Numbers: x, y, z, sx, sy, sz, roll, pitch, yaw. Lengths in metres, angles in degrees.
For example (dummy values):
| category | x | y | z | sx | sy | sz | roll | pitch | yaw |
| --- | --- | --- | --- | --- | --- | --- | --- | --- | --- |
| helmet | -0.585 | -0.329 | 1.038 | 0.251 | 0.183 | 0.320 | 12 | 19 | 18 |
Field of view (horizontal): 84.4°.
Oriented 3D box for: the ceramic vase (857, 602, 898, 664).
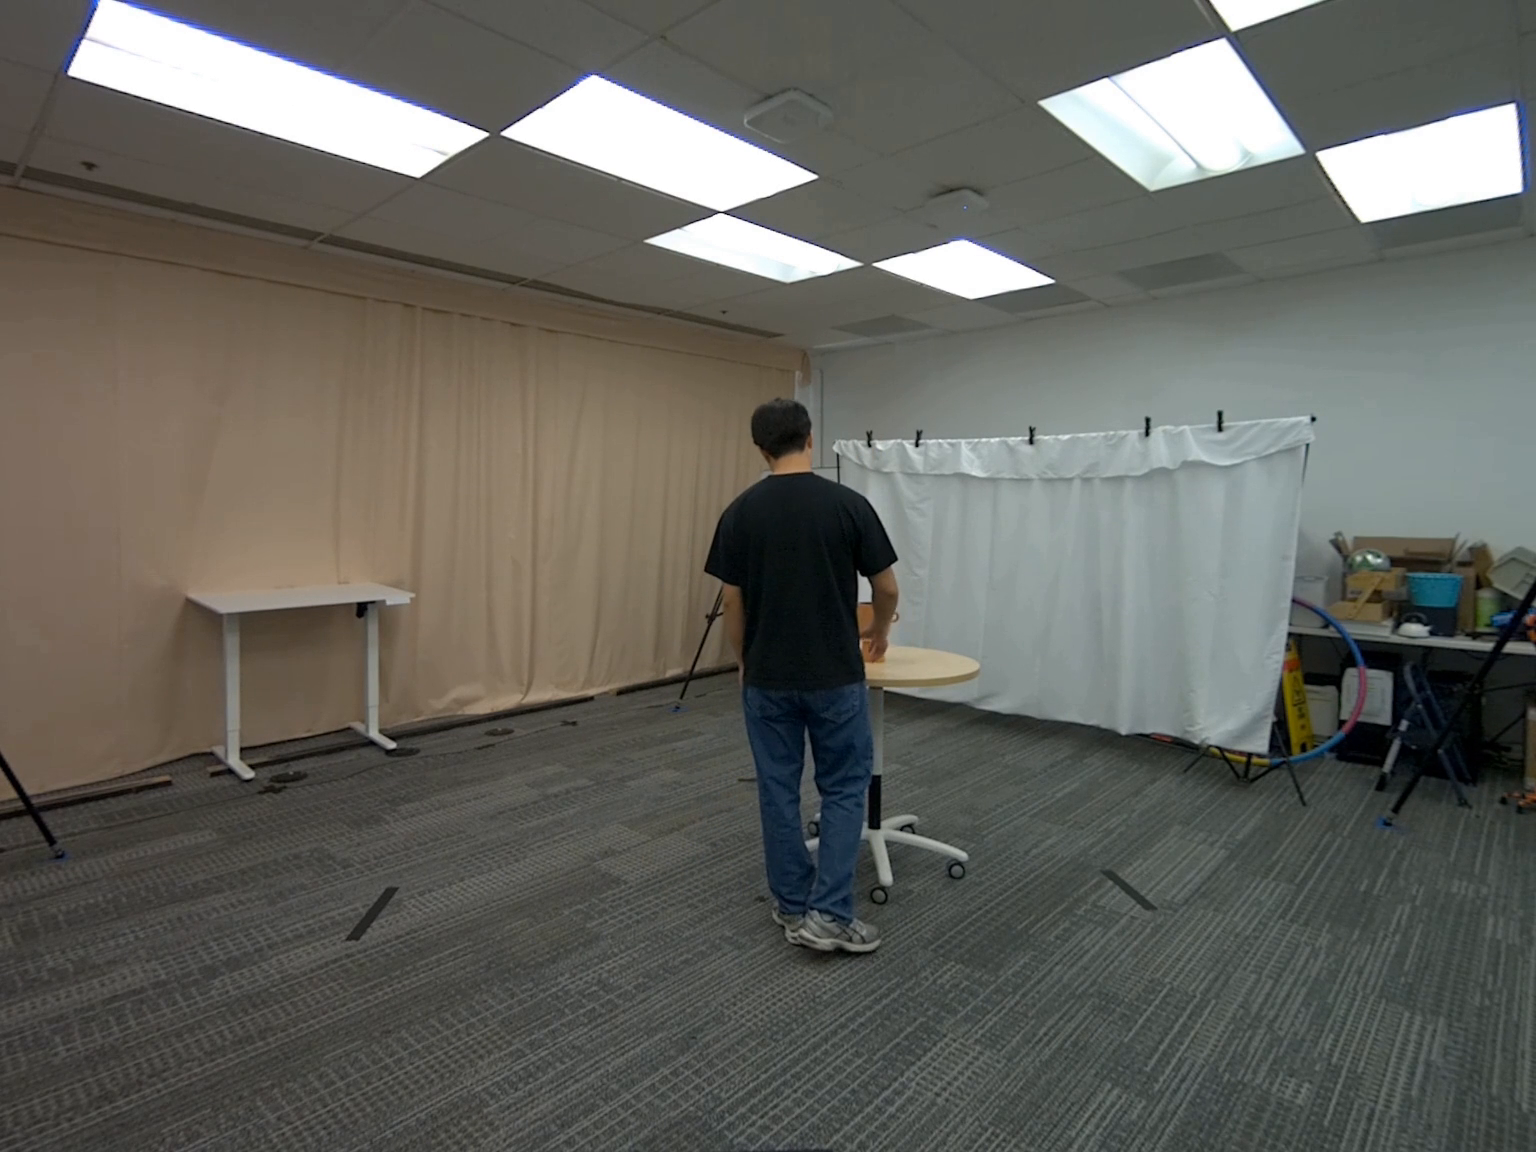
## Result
| category | x | y | z | sx | sy | sz | roll | pitch | yaw |
| --- | --- | --- | --- | --- | --- | --- | --- | --- | --- |
| ceramic vase | 0.413 | 0.216 | 3.232 | 0.130 | 0.219 | 0.164 | -1 | 4 | -40 |
